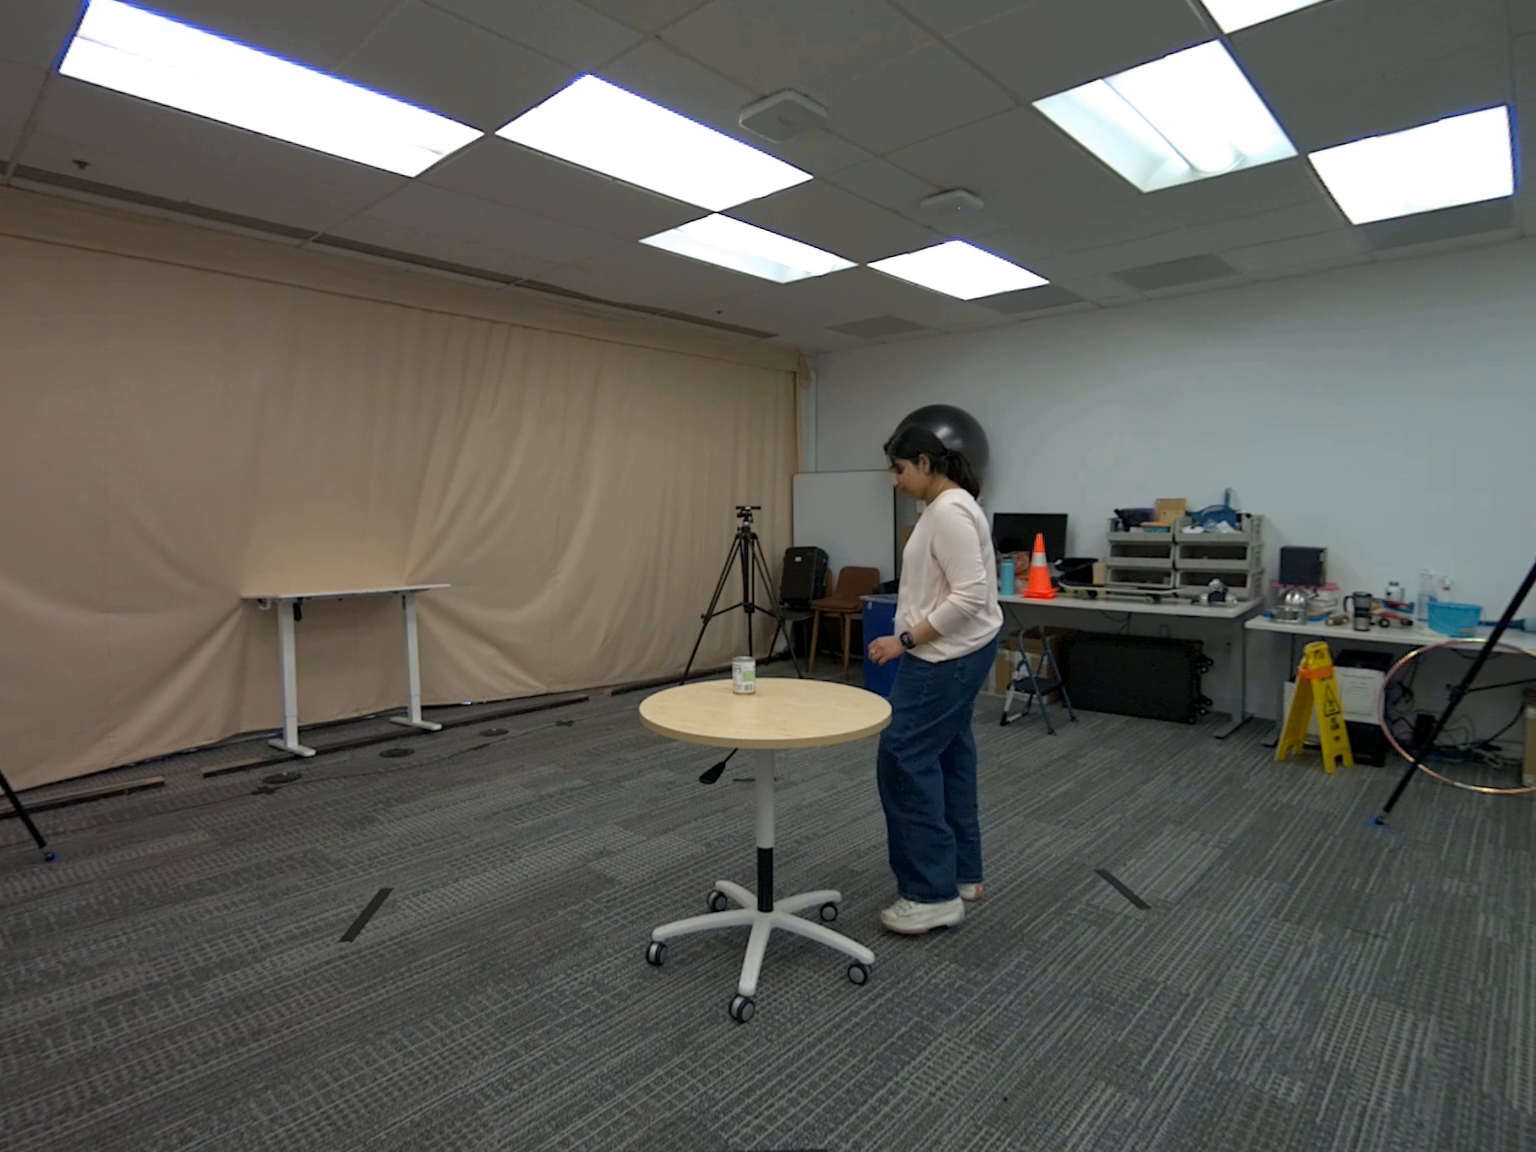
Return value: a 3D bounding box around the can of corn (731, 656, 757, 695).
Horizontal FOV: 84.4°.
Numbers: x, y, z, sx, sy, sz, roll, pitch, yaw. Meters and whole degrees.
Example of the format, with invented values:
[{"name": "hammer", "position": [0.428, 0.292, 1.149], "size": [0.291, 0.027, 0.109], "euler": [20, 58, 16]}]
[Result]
[{"name": "can of corn", "position": [-0.074, 0.328, 2.736], "size": [0.074, 0.111, 0.074], "euler": [-1, 5, -2]}]
